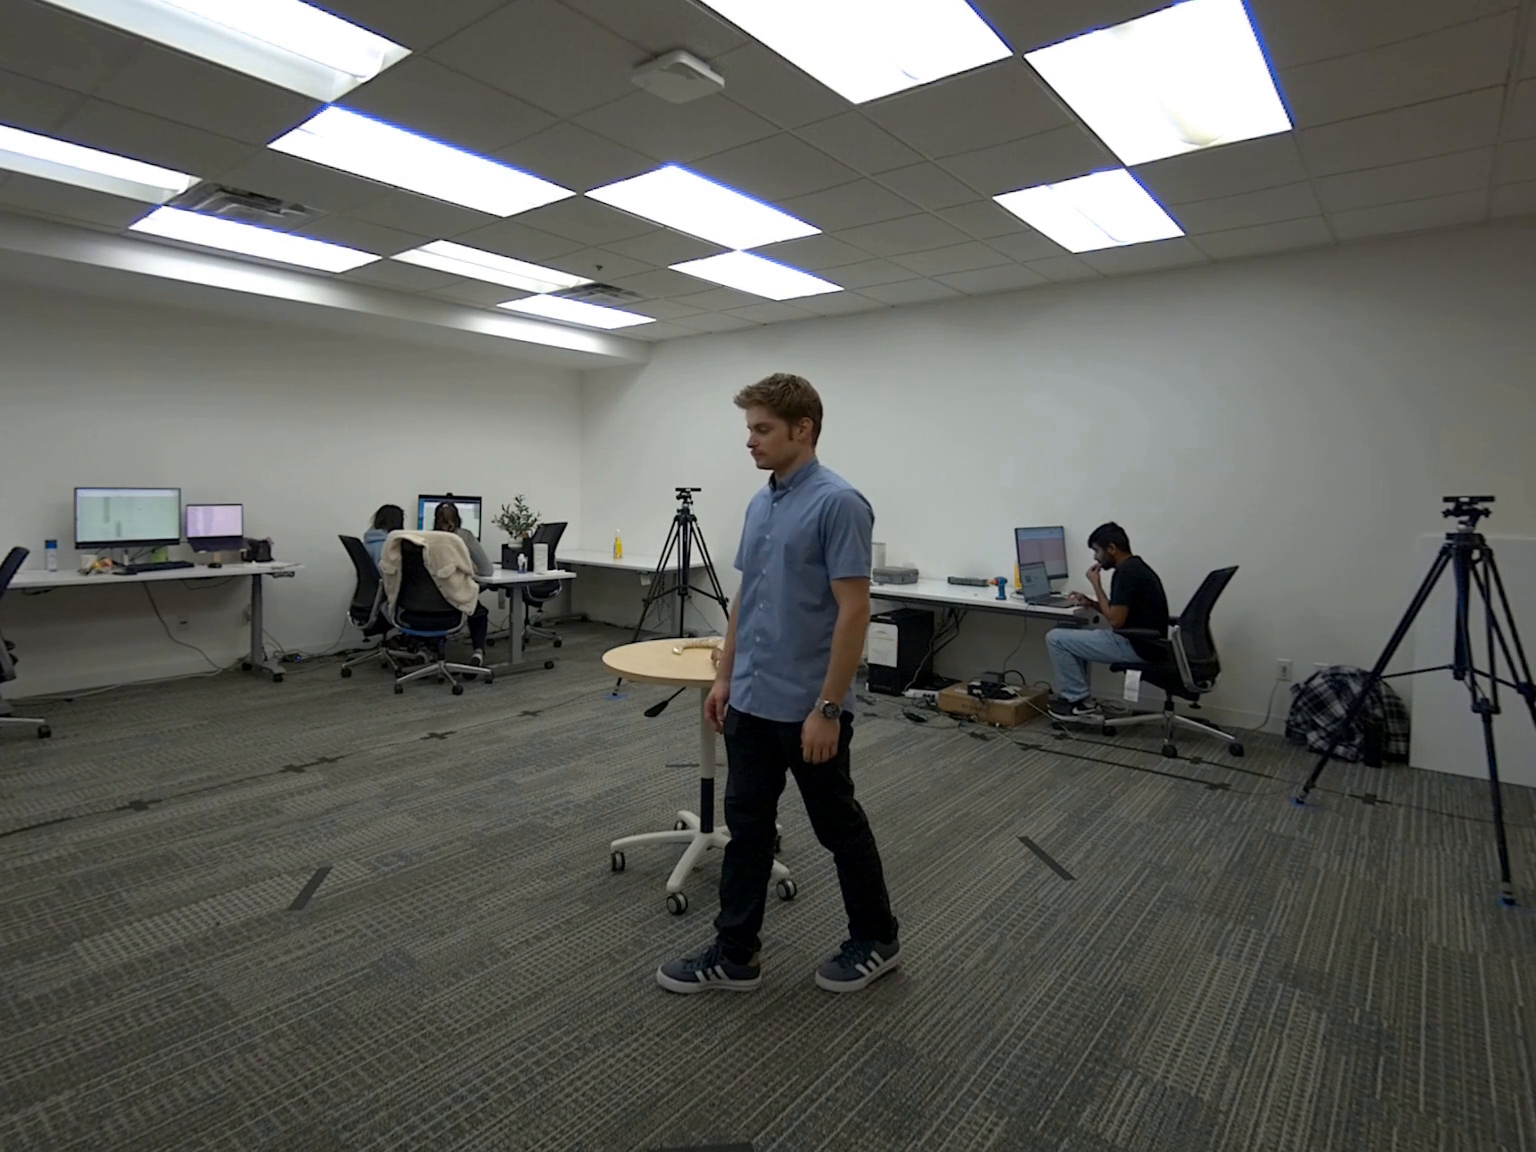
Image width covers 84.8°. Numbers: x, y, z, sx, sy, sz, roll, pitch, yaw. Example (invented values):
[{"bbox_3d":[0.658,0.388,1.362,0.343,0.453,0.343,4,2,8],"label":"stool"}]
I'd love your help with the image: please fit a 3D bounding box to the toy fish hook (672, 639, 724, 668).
[{"bbox_3d":[-0.237,0.279,3.038,0.223,0.048,0.511,-7,5,-7],"label":"toy fish hook"}]
